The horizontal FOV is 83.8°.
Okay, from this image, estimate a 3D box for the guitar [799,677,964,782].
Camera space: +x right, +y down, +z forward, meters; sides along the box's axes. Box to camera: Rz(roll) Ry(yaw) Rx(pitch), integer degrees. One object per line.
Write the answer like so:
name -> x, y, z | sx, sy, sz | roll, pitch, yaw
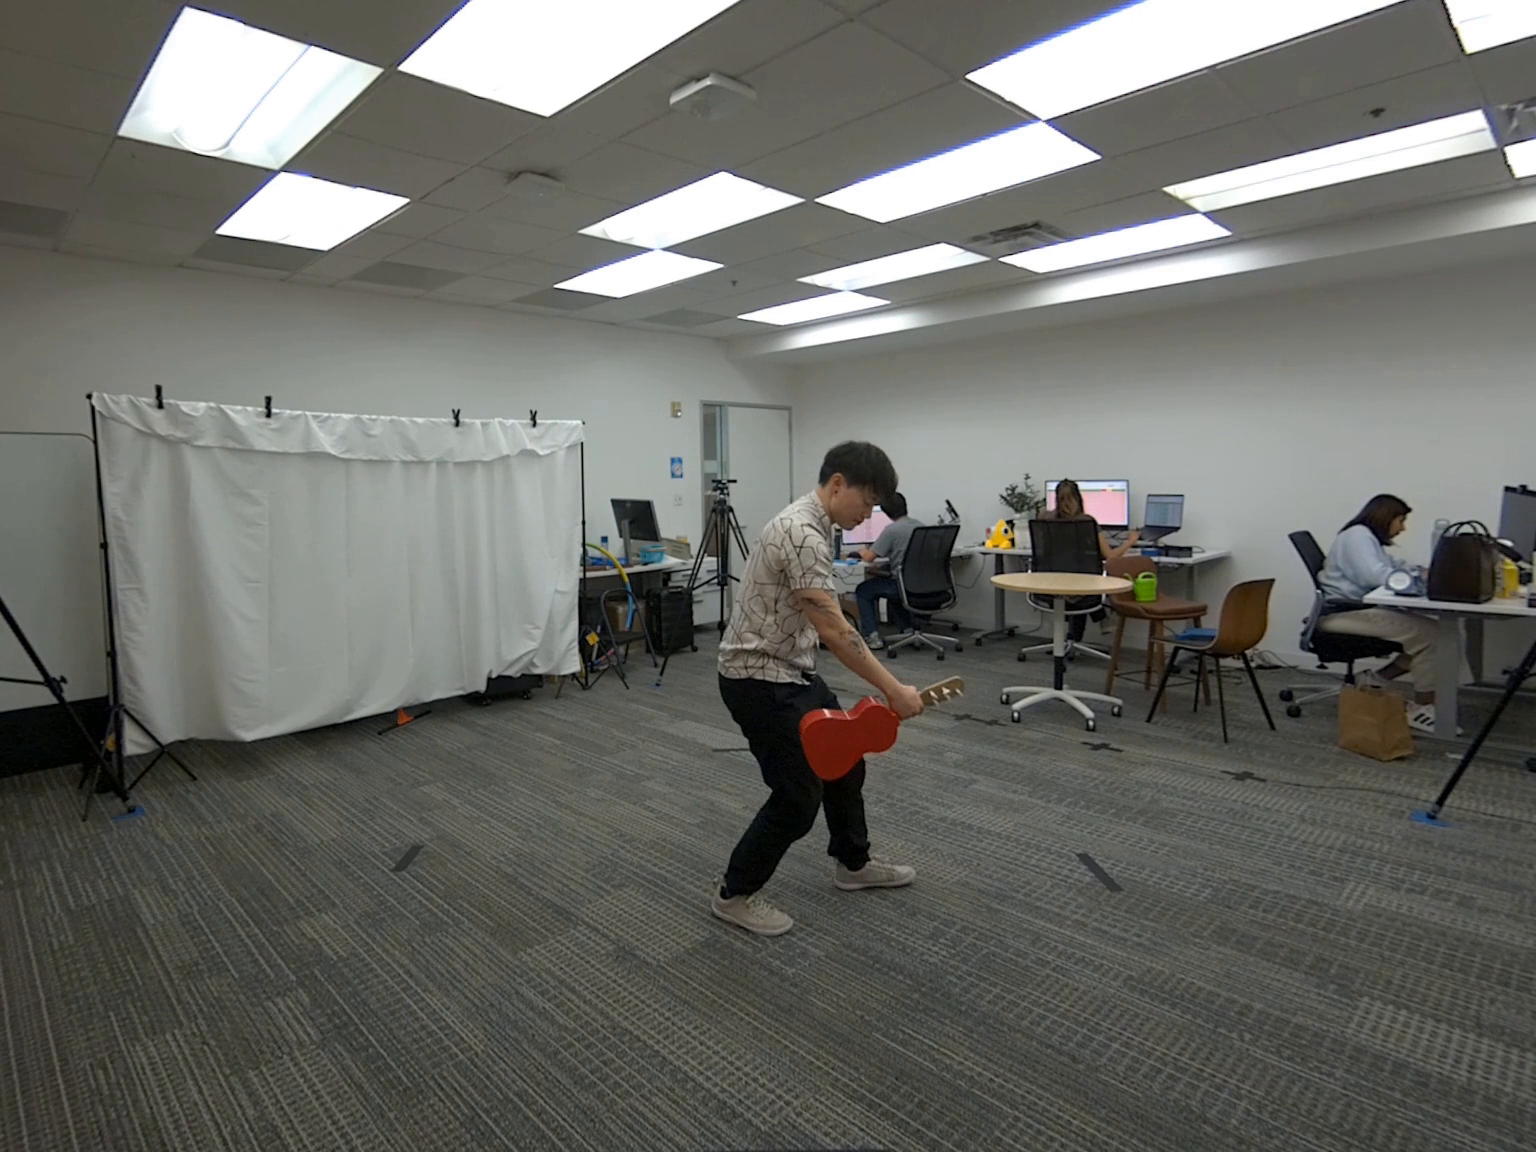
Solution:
guitar -> 0.325, 0.387, 2.409 | 0.498, 0.189, 0.072 | -29, 15, 0
